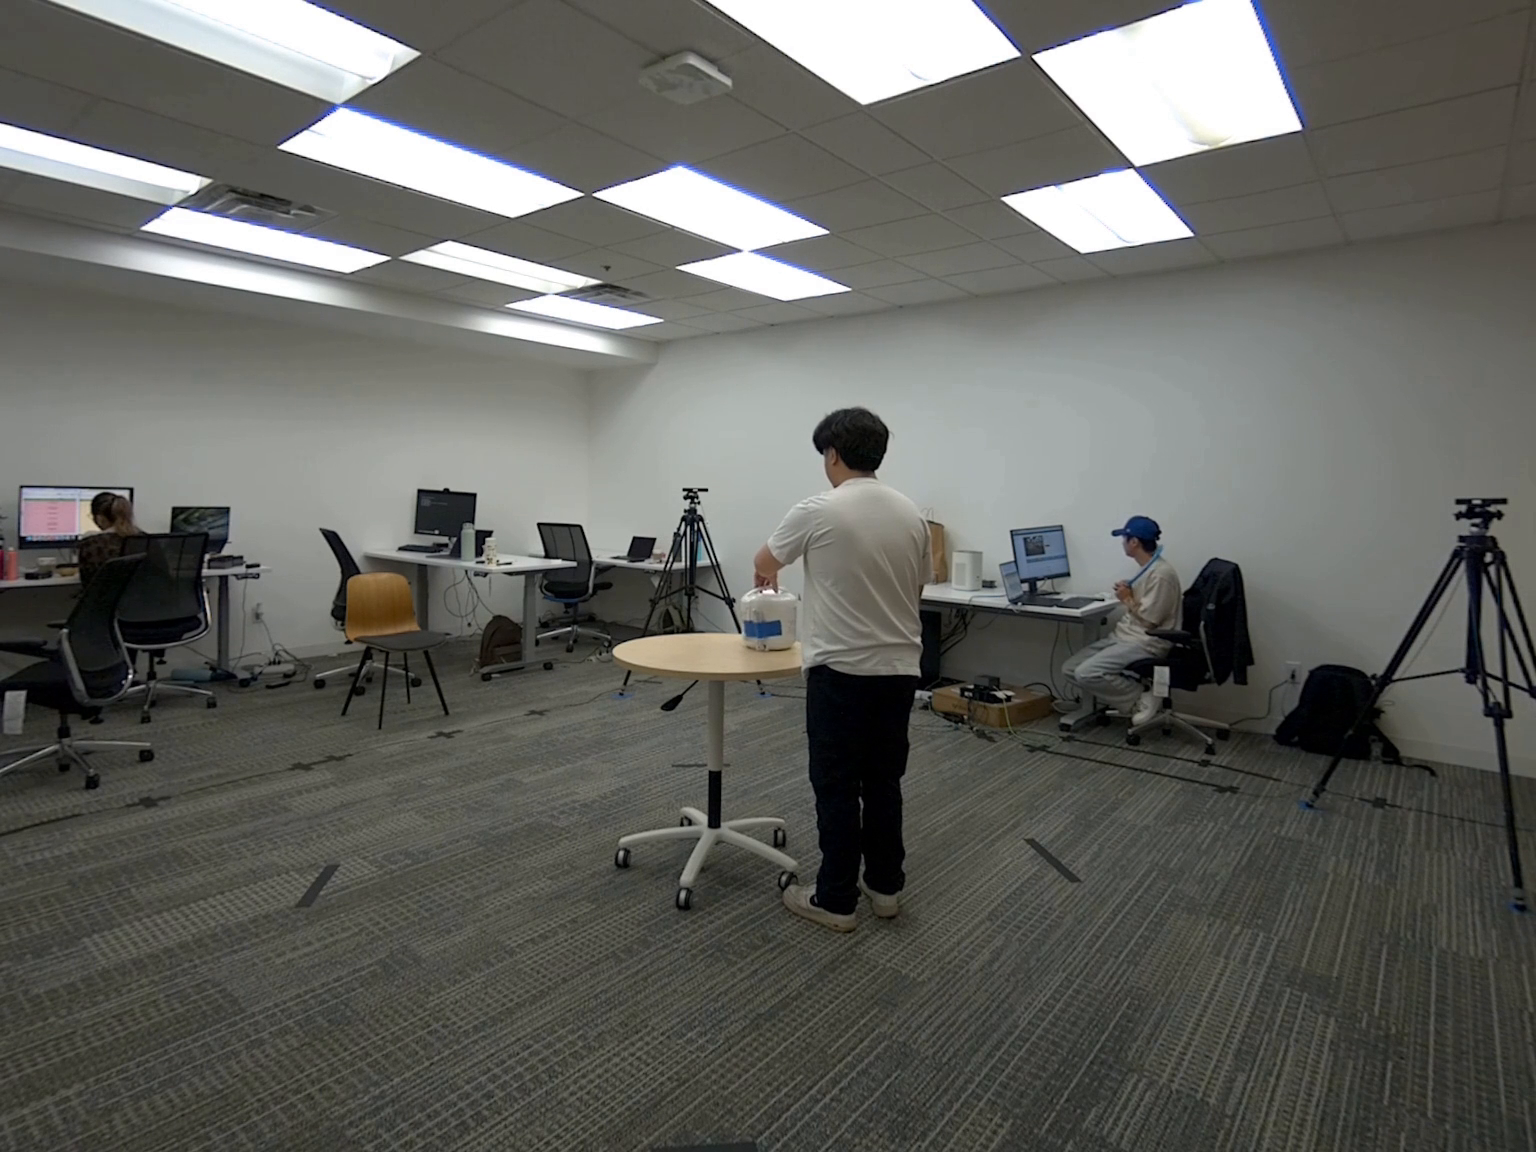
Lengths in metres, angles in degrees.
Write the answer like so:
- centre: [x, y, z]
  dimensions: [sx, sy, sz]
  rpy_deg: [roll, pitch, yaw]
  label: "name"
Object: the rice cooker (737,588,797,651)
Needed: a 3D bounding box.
- centre: [-0.008, 0.149, 3.213]
  dimensions: [0.215, 0.232, 0.223]
  rpy_deg: [-1, 5, -26]
  label: "rice cooker"
